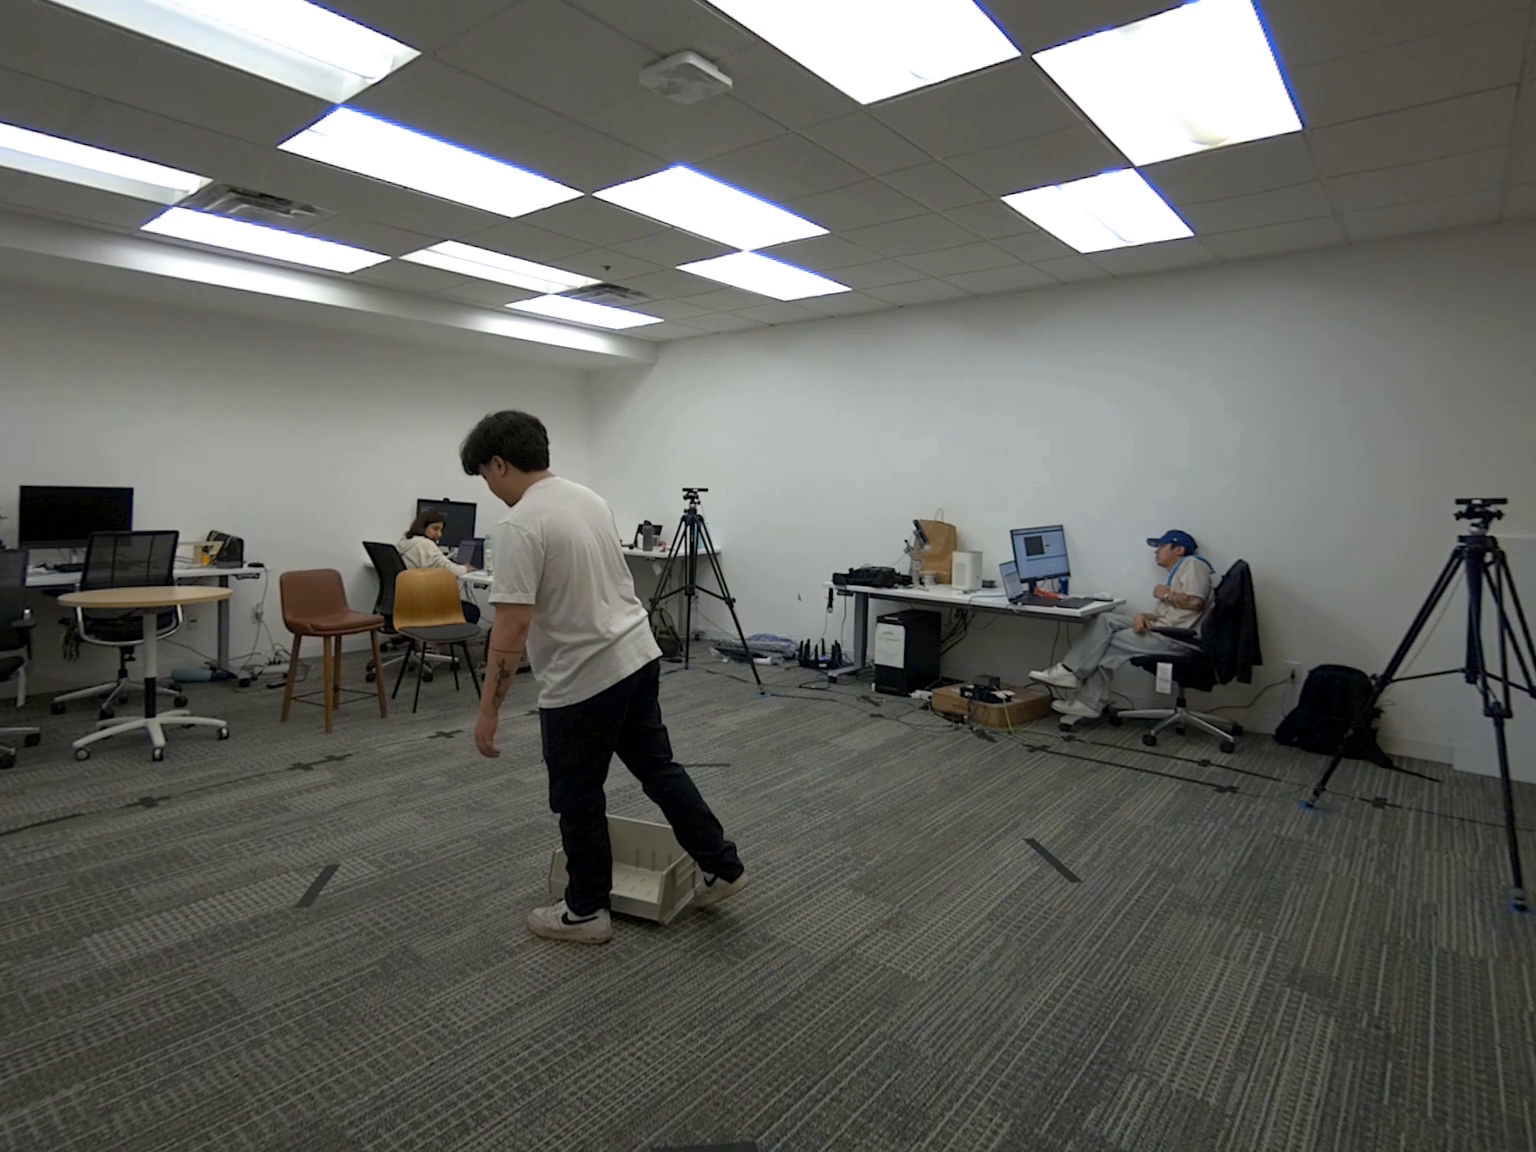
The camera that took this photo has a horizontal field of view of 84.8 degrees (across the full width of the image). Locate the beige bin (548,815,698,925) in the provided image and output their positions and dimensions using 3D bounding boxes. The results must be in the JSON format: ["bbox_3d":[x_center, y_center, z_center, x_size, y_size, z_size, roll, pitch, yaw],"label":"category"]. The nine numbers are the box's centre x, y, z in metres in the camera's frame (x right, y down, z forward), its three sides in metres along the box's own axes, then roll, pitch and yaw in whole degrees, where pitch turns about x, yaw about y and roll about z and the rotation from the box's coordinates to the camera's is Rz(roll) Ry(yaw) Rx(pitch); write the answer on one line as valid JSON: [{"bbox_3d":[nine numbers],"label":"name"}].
[{"bbox_3d":[-0.478,0.995,2.896,0.432,0.188,0.370,2,4,21],"label":"beige bin"}]
